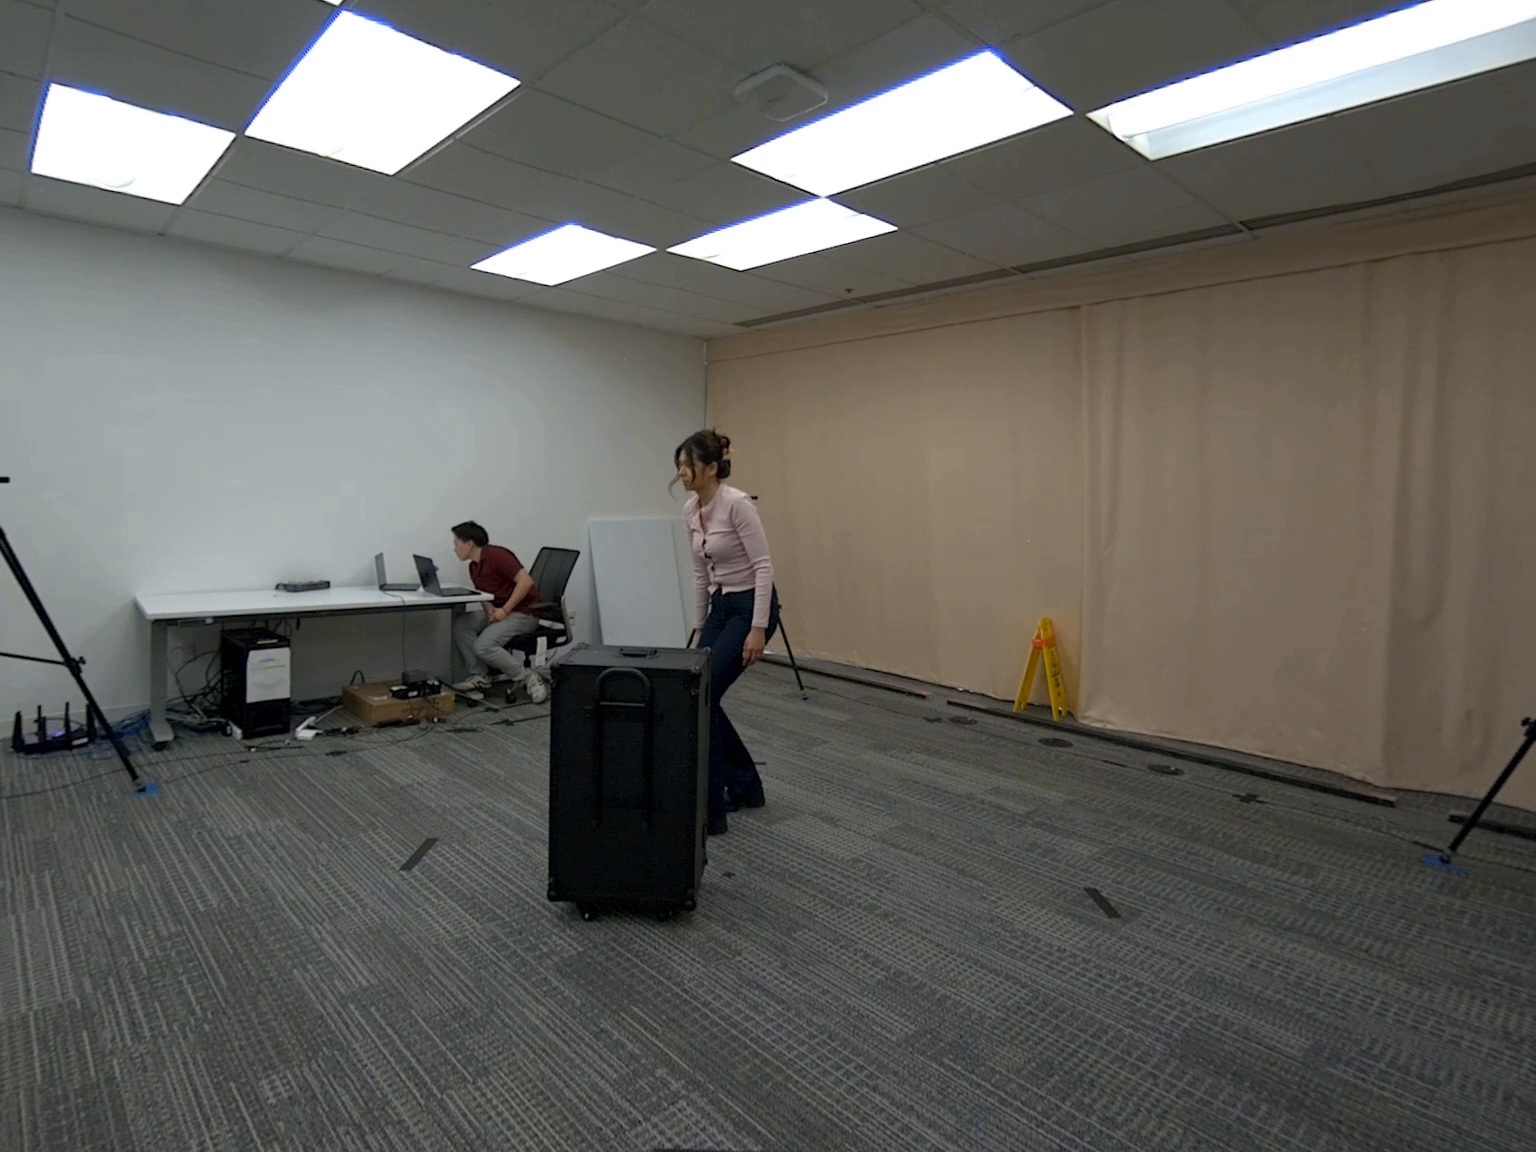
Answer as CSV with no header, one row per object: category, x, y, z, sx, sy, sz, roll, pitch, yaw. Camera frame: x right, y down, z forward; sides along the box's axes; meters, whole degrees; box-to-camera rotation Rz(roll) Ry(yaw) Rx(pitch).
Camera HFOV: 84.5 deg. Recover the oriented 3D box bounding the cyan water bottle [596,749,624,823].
cyan water bottle,-0.682,0.900,3.640,0.092,0.283,0.092,3,2,-2
